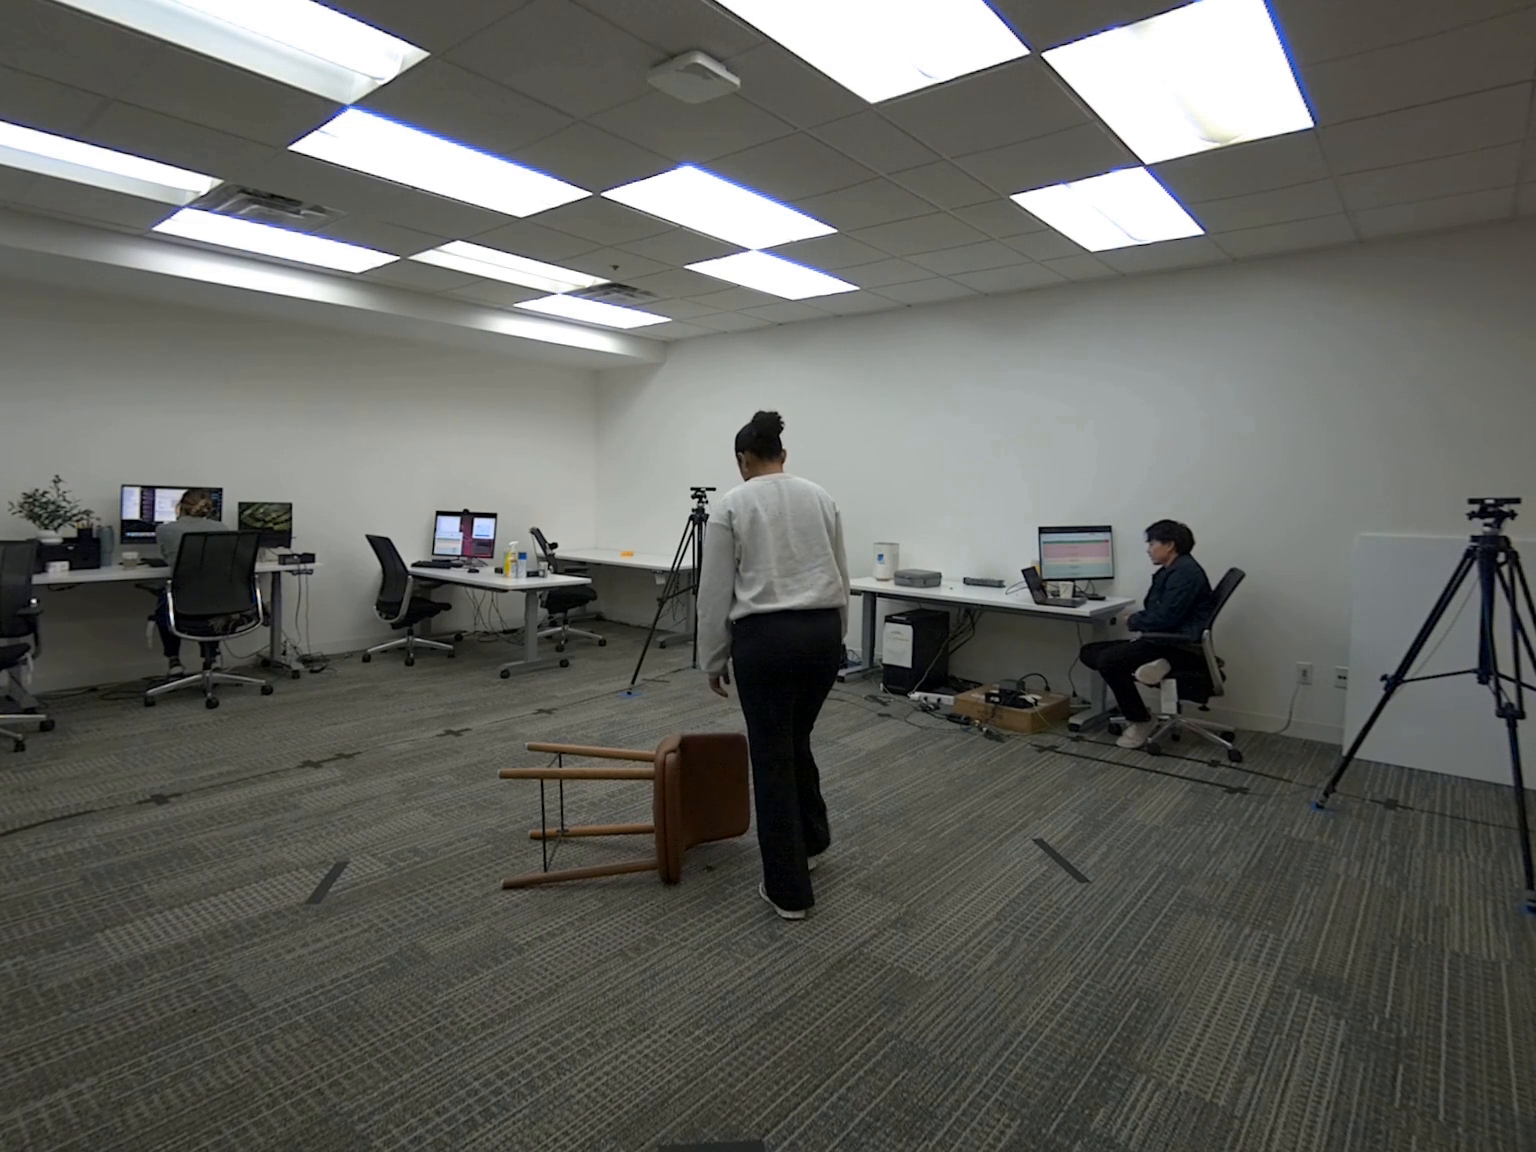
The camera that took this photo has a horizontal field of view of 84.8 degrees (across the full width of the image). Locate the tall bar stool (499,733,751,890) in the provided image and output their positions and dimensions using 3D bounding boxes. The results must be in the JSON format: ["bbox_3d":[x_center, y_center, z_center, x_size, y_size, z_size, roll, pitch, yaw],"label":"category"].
[{"bbox_3d":[-0.509,0.845,3.143,0.887,0.456,0.469,-1,2,-3],"label":"tall bar stool"}]
